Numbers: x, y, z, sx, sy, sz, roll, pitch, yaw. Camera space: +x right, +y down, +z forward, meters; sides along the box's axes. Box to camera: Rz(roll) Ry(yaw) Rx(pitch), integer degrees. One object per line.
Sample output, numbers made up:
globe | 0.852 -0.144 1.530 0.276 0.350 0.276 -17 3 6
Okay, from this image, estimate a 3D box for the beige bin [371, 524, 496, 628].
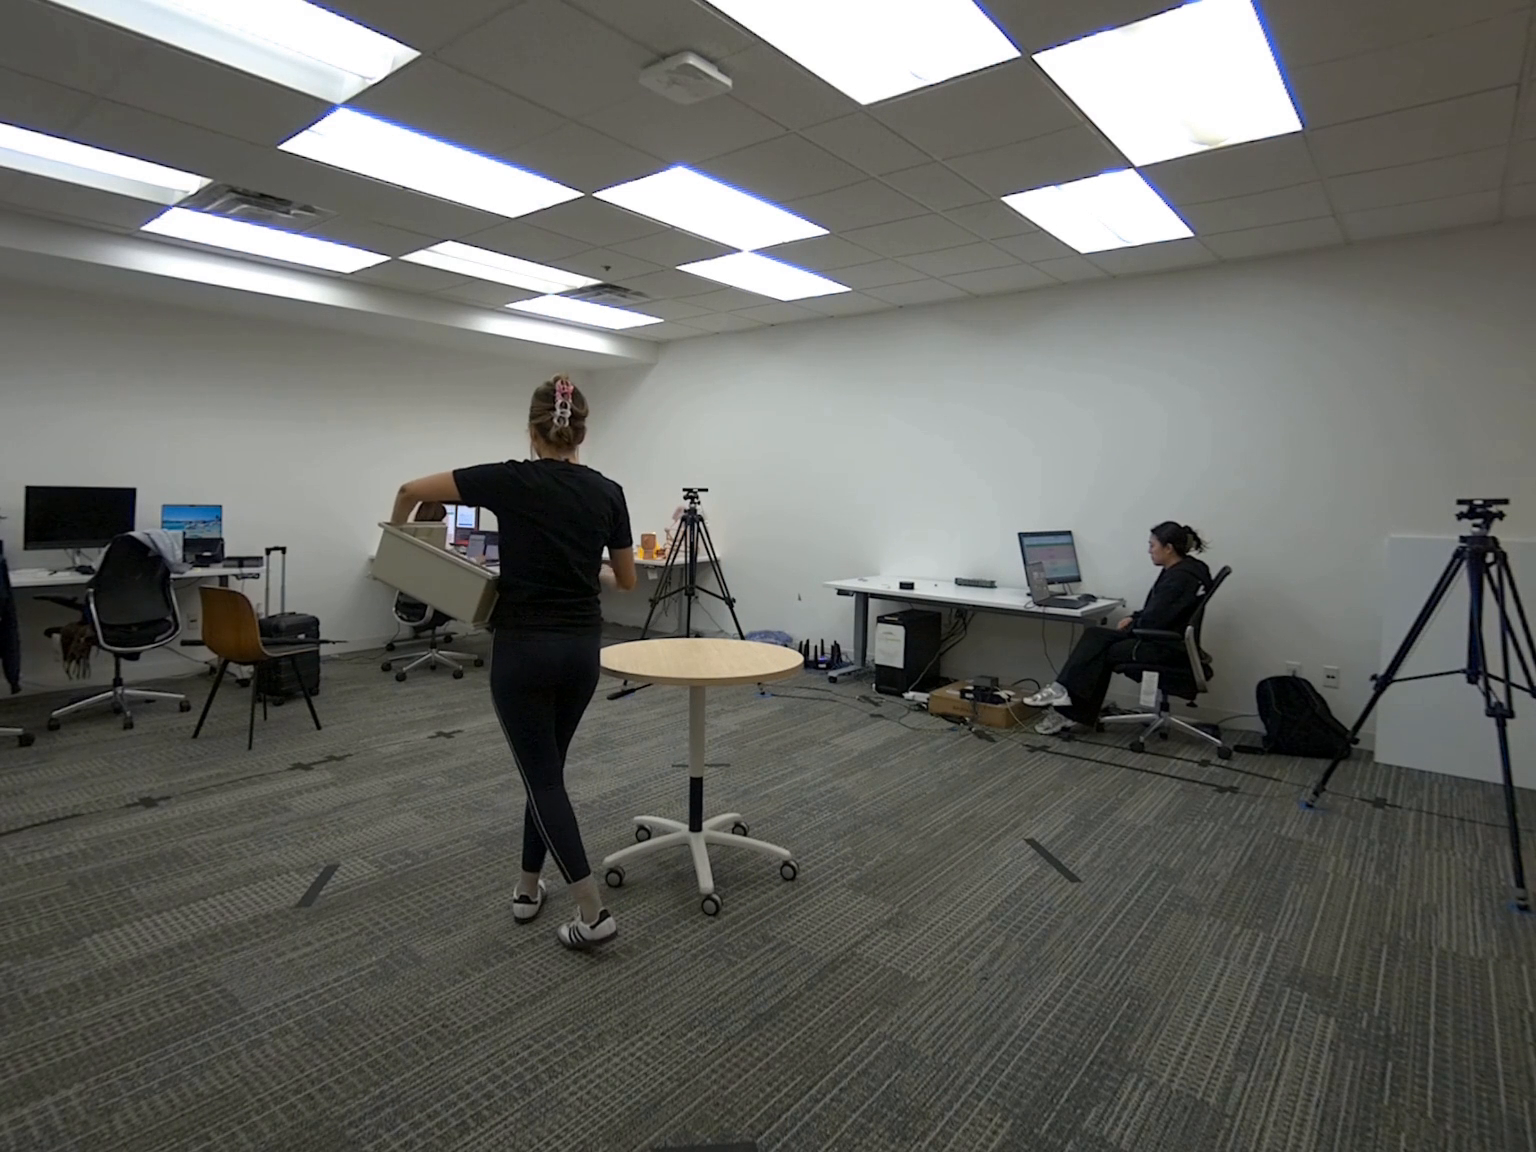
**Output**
beige bin | -0.984 -0.013 2.722 0.430 0.188 0.372 23 9 13
